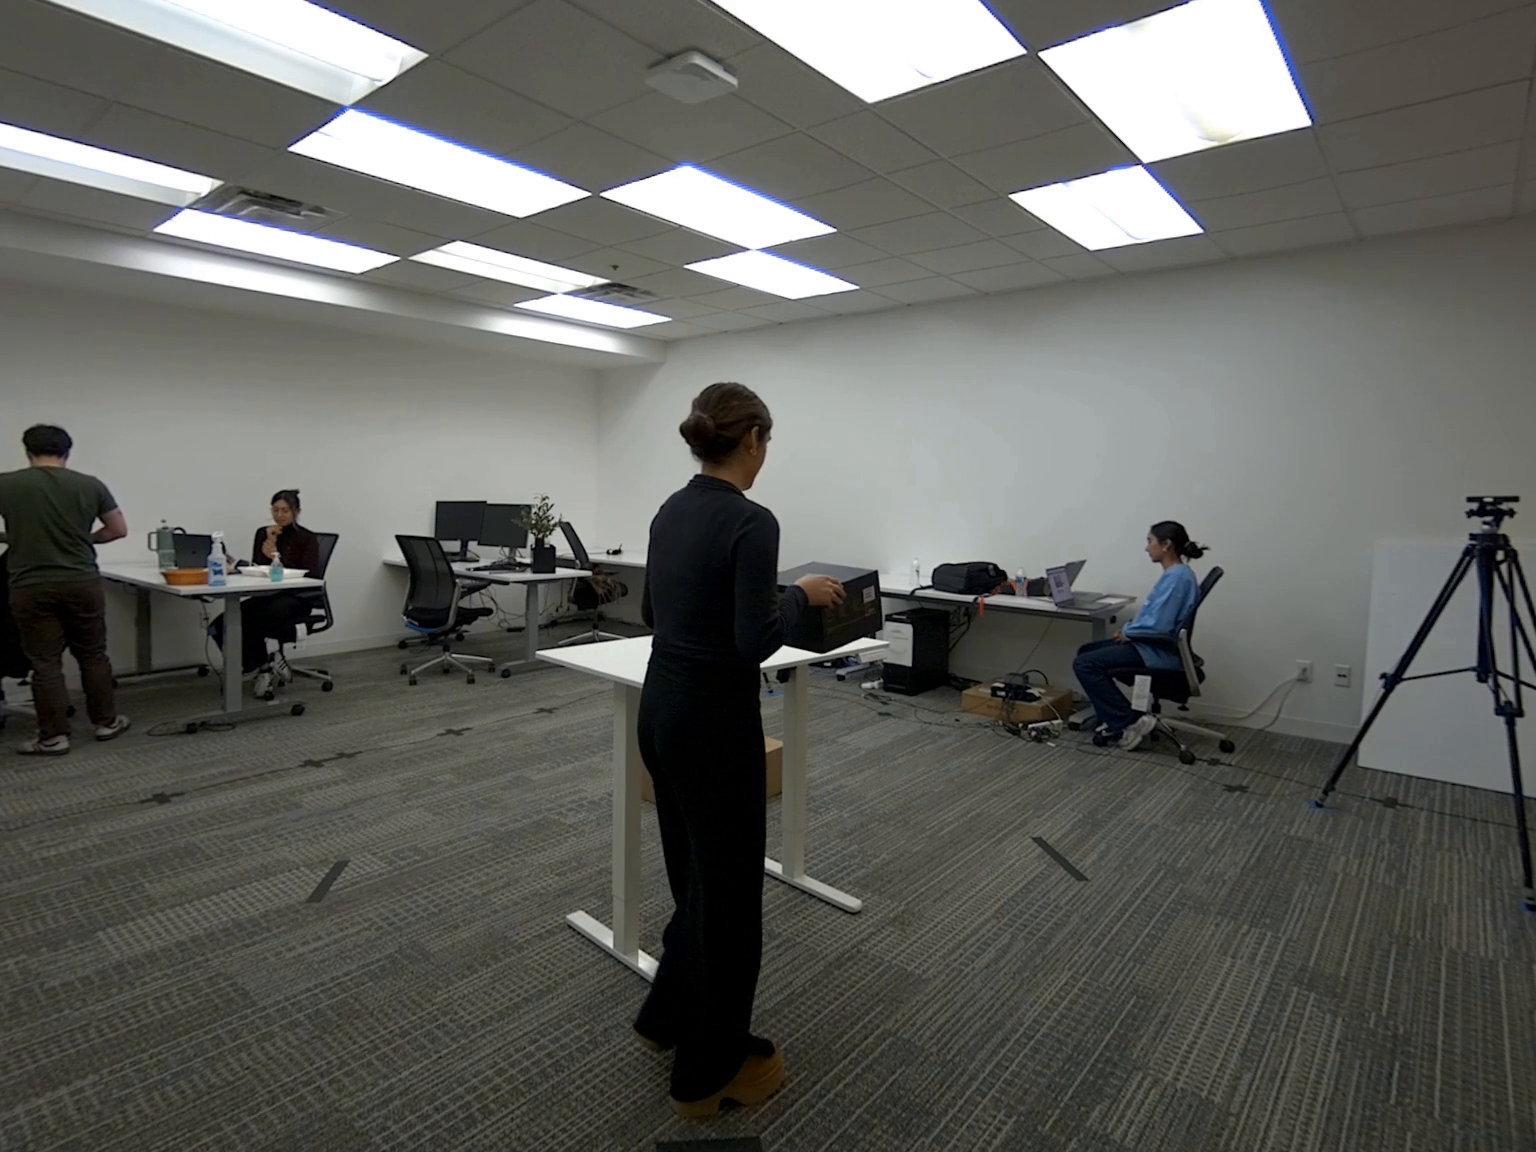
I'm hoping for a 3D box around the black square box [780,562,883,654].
[{"bbox_3d":[0.115,0.070,2.125,0.212,0.154,0.236,-17,16,-37],"label":"black square box"}]
